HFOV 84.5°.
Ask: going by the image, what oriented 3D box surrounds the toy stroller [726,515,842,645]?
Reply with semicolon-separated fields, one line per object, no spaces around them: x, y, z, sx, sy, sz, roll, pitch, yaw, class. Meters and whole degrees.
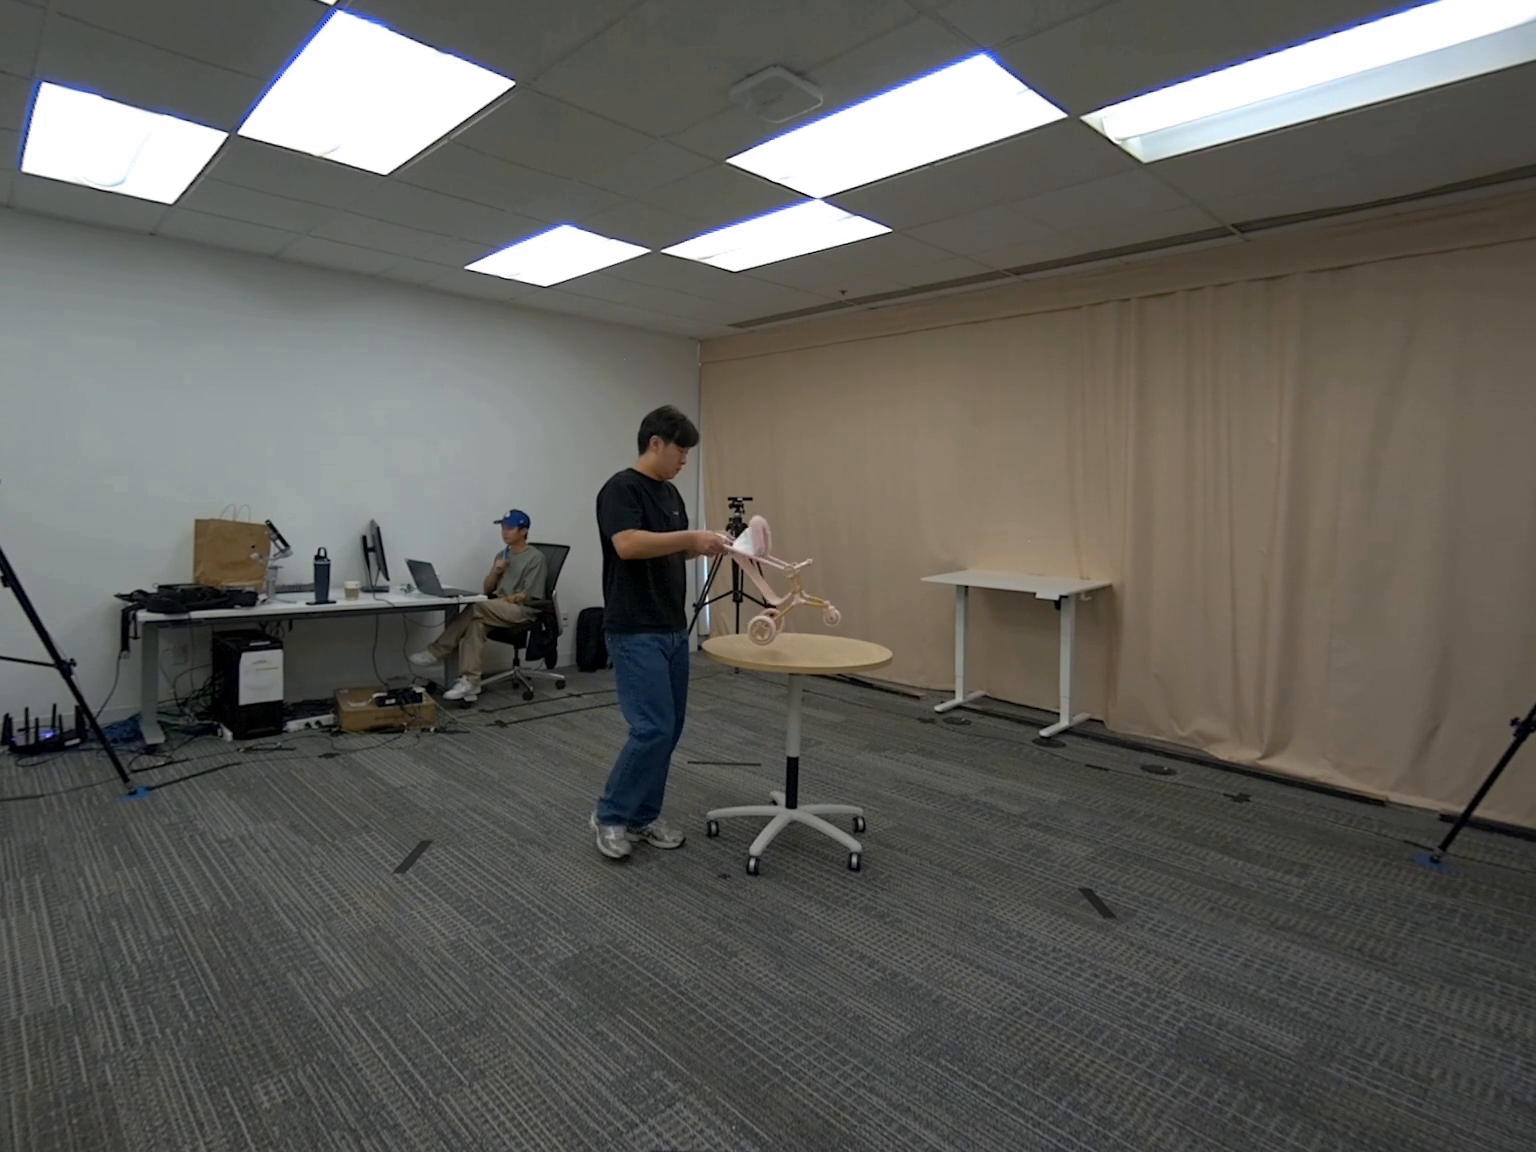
0.011;0.006;3.193;0.343;0.537;0.279;-27;-3;15;toy stroller
